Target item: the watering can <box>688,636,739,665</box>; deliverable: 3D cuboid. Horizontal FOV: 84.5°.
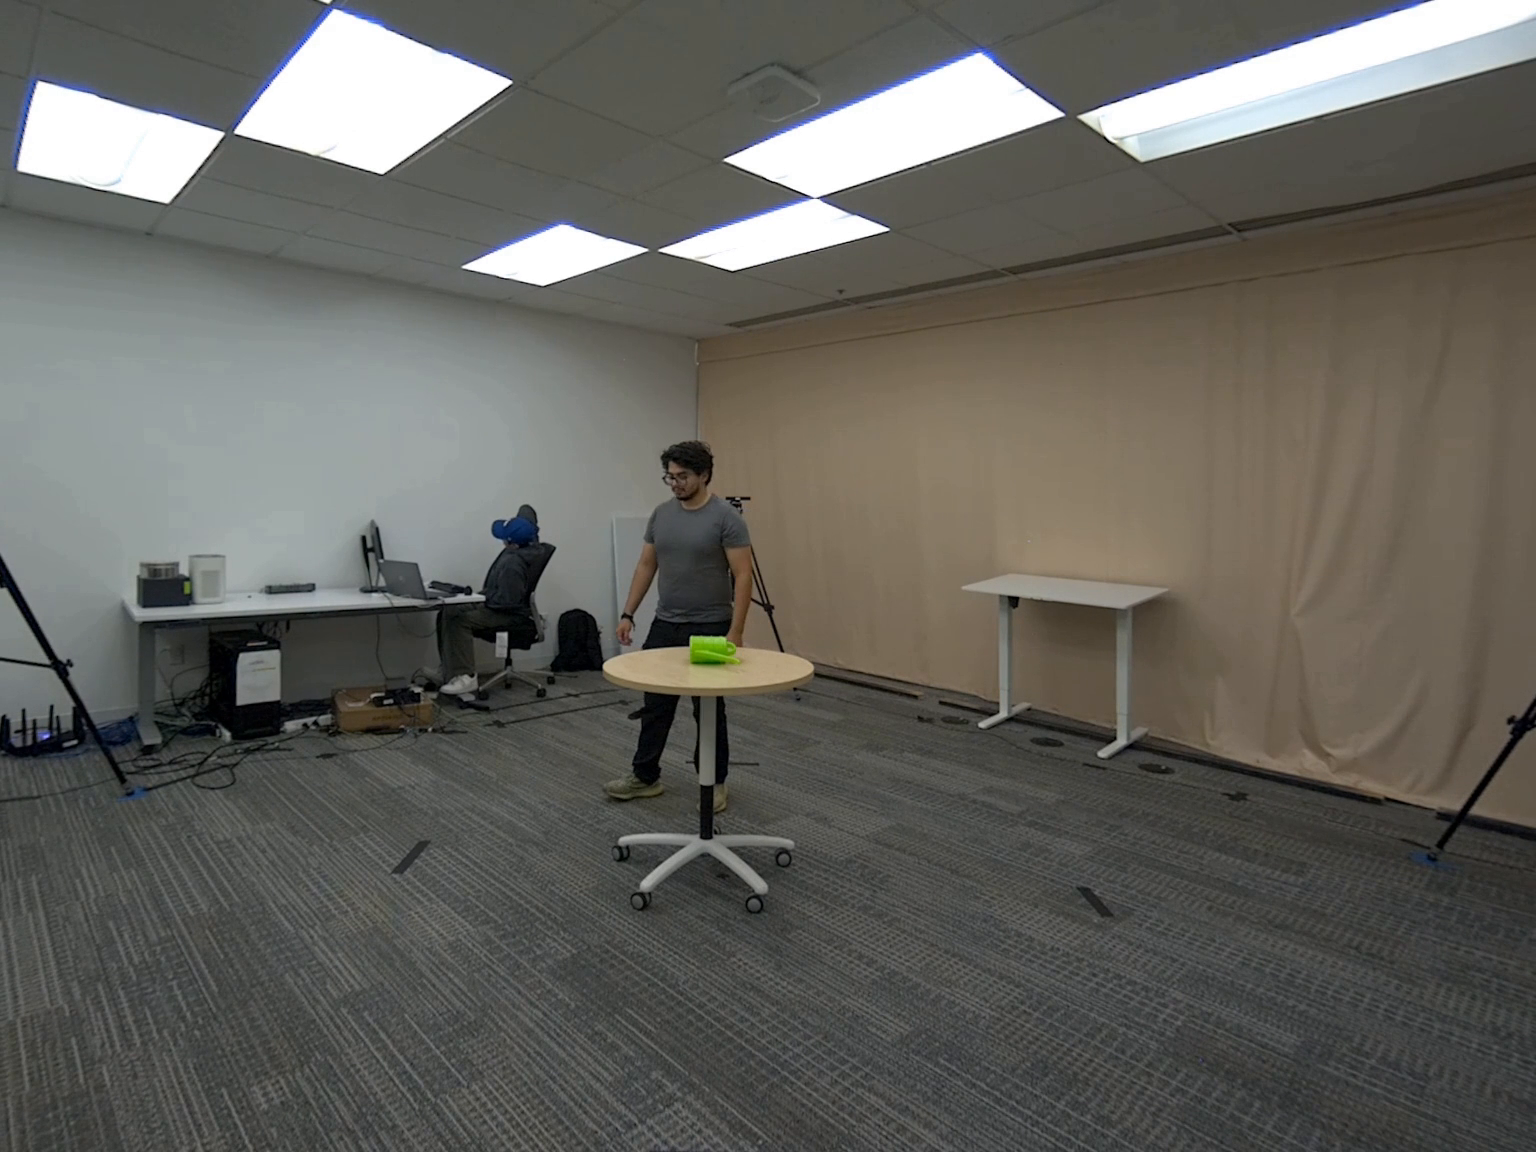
[{"bbox_3d":[-0.211,0.272,3.075,0.176,0.098,0.279,0,-2,-6],"label":"watering can"}]
